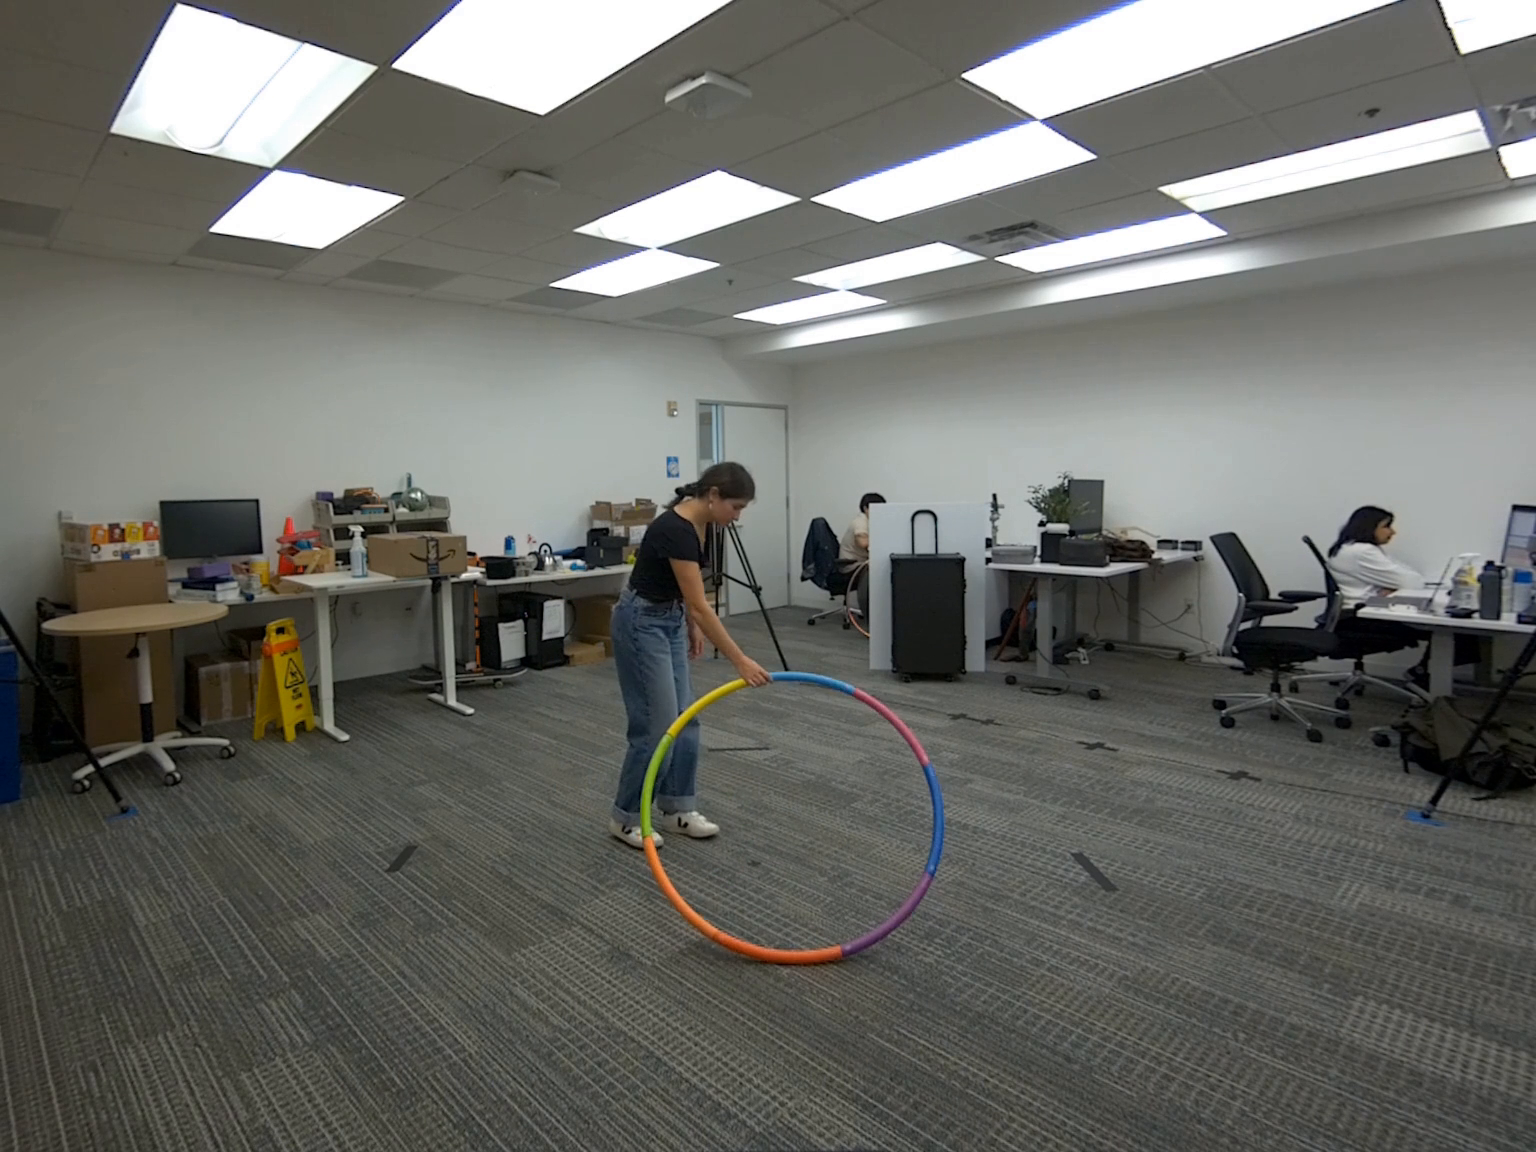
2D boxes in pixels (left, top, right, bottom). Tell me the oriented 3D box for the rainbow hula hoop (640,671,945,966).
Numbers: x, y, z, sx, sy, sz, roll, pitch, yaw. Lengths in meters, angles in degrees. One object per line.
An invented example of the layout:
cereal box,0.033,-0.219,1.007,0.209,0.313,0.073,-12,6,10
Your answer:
rainbow hula hoop,0.073,0.733,2.794,0.979,0.034,1.006,-2,48,0
